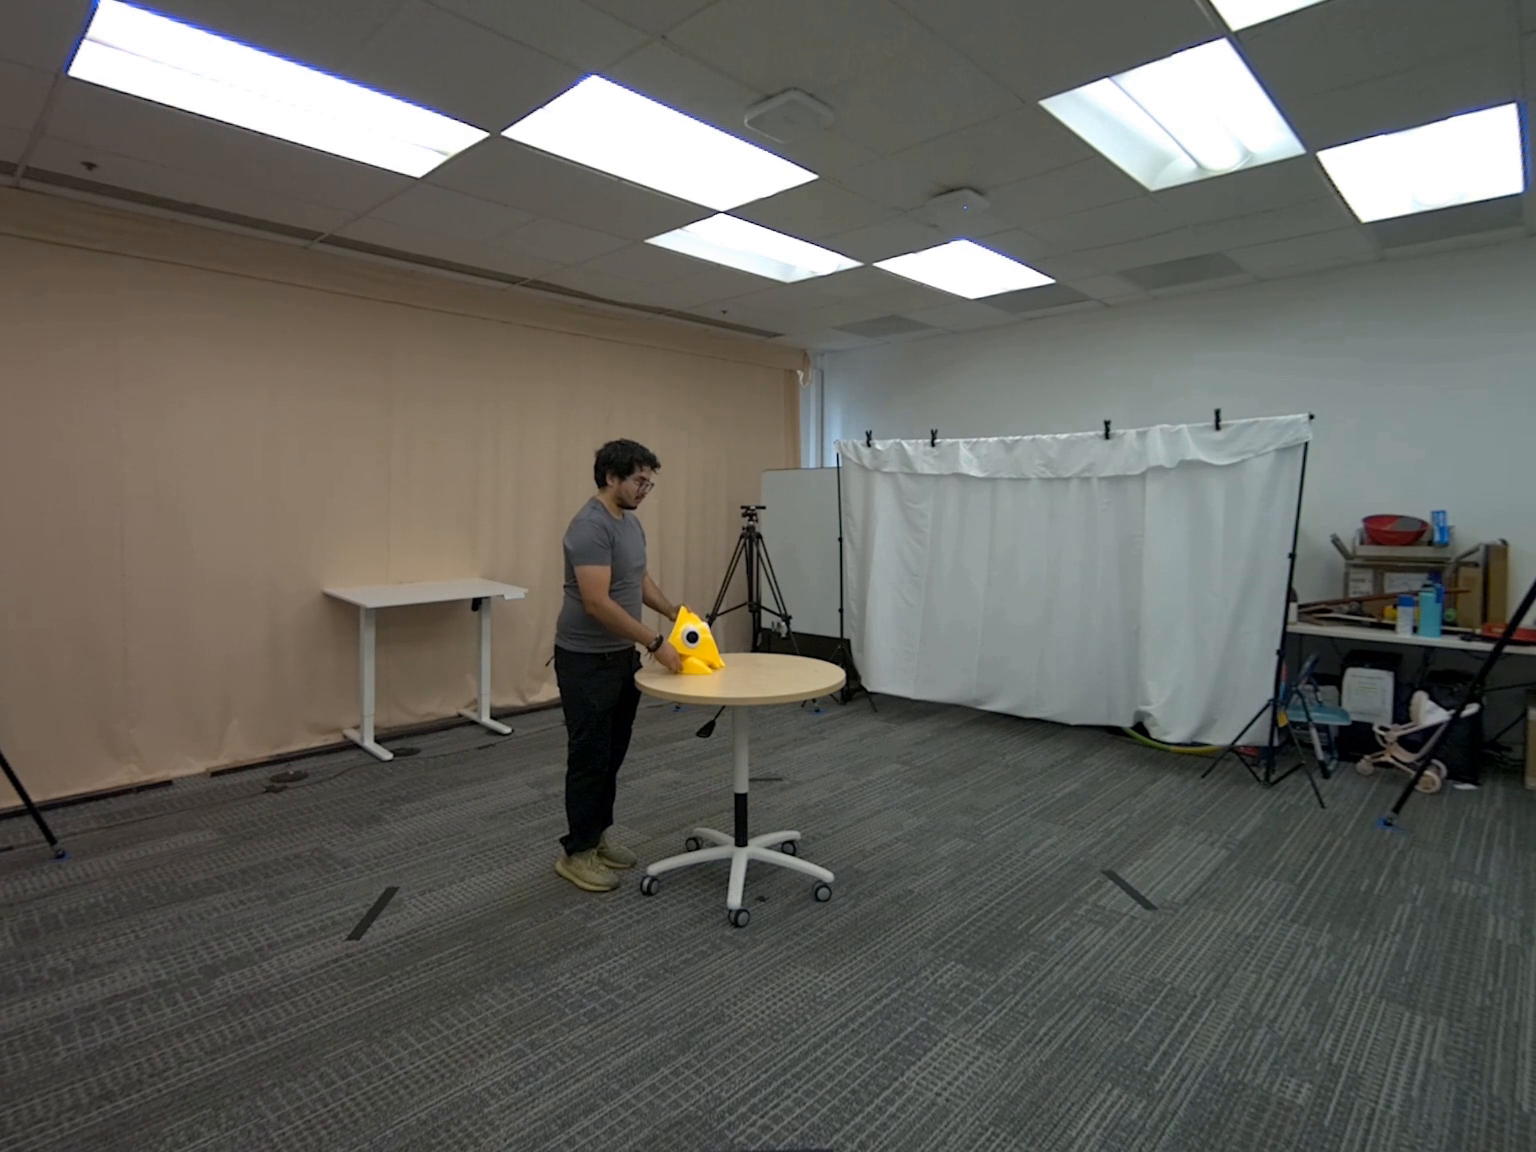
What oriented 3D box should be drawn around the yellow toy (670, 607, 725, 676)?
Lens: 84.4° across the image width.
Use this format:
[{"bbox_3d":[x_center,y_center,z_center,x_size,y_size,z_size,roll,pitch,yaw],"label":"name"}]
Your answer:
[{"bbox_3d":[-0.264,0.230,3.140,0.197,0.230,0.201,3,6,20],"label":"yellow toy"}]
